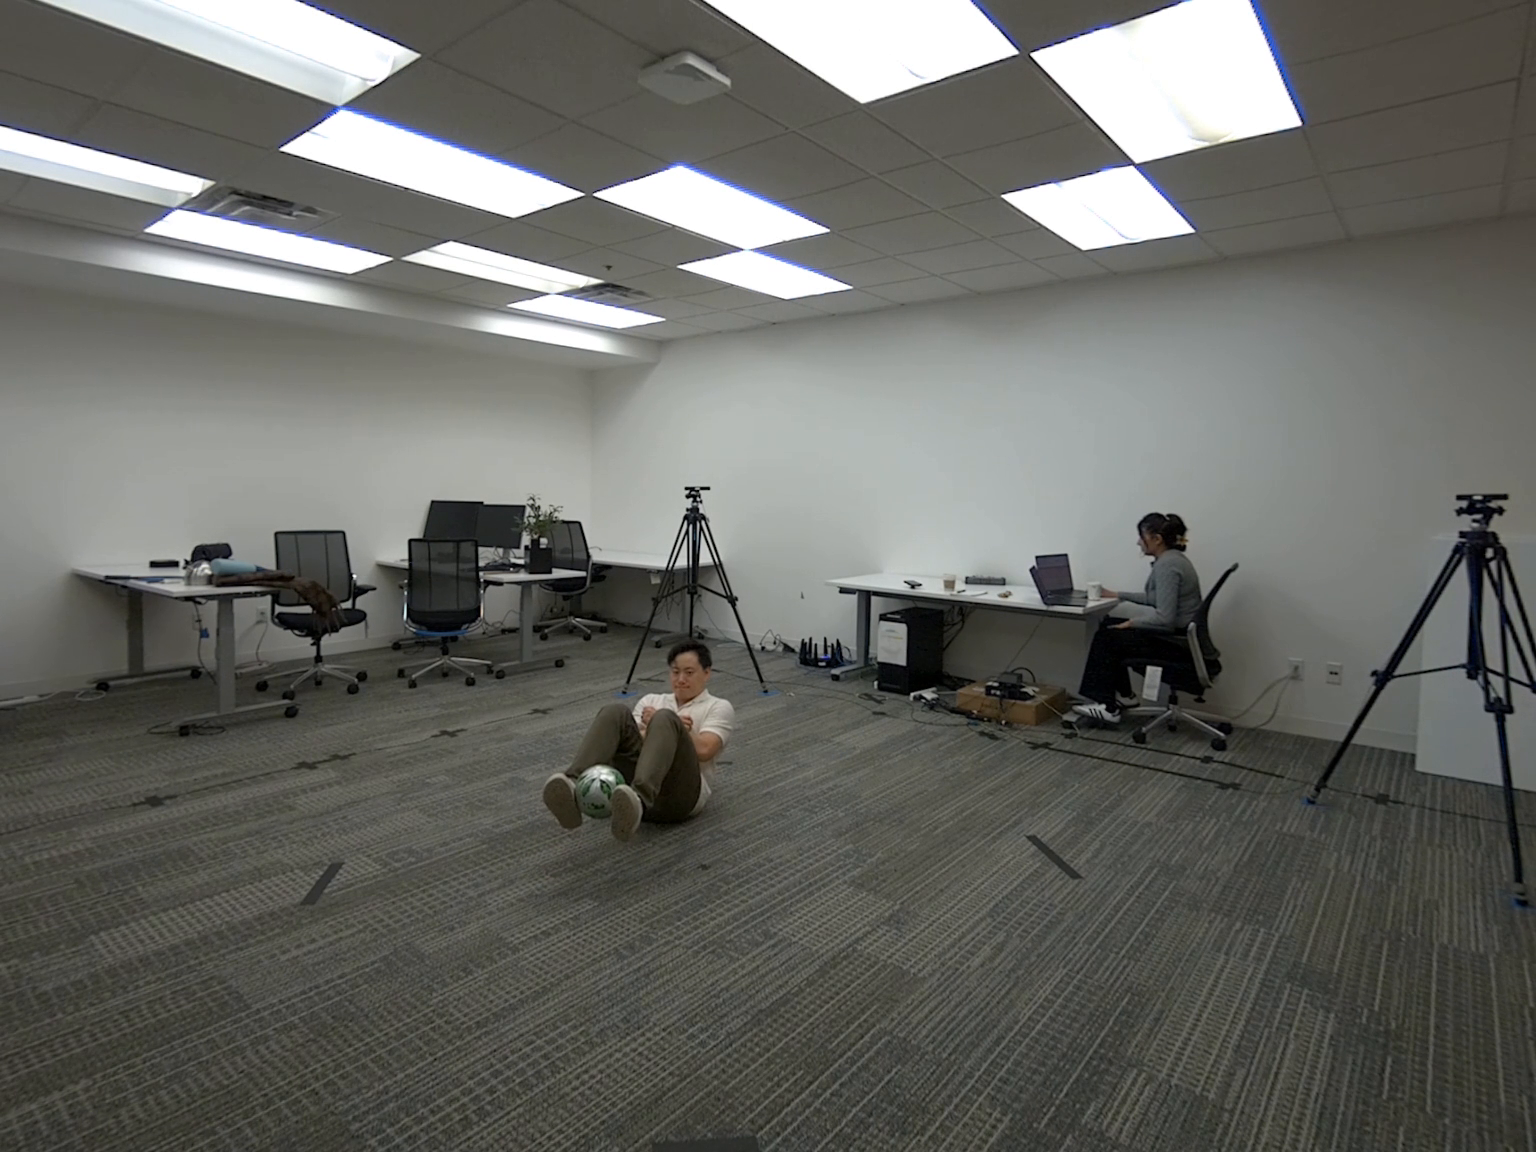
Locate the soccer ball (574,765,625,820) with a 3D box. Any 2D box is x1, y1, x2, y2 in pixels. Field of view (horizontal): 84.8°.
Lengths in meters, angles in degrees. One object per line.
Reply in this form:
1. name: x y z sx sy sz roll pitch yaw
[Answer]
1. soccer ball: -0.625 0.771 3.046 0.187 0.187 0.188 1 4 -2
